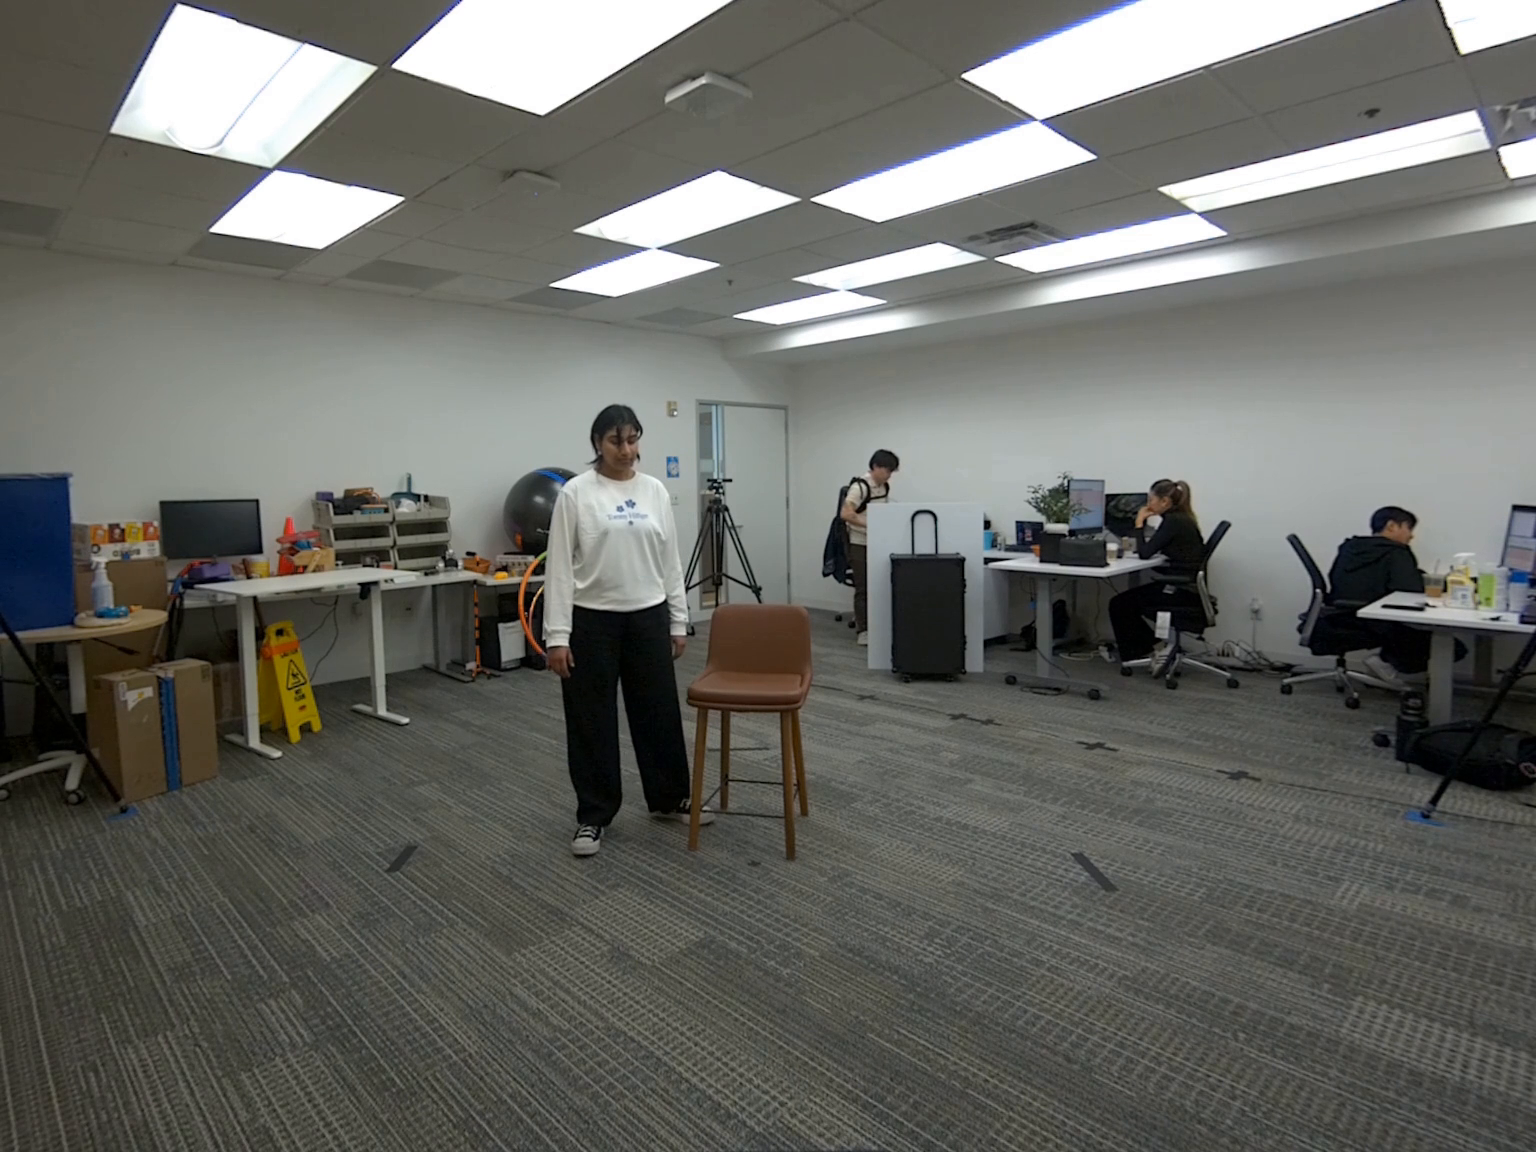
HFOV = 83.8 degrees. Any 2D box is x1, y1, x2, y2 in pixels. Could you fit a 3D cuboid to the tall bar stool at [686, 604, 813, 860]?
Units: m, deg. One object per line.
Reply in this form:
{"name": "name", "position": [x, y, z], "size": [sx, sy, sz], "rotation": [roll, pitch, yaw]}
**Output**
{"name": "tall bar stool", "position": [-0.066, 0.585, 3.366], "size": [0.463, 0.888, 0.462], "rotation": [0, 3, 14]}
